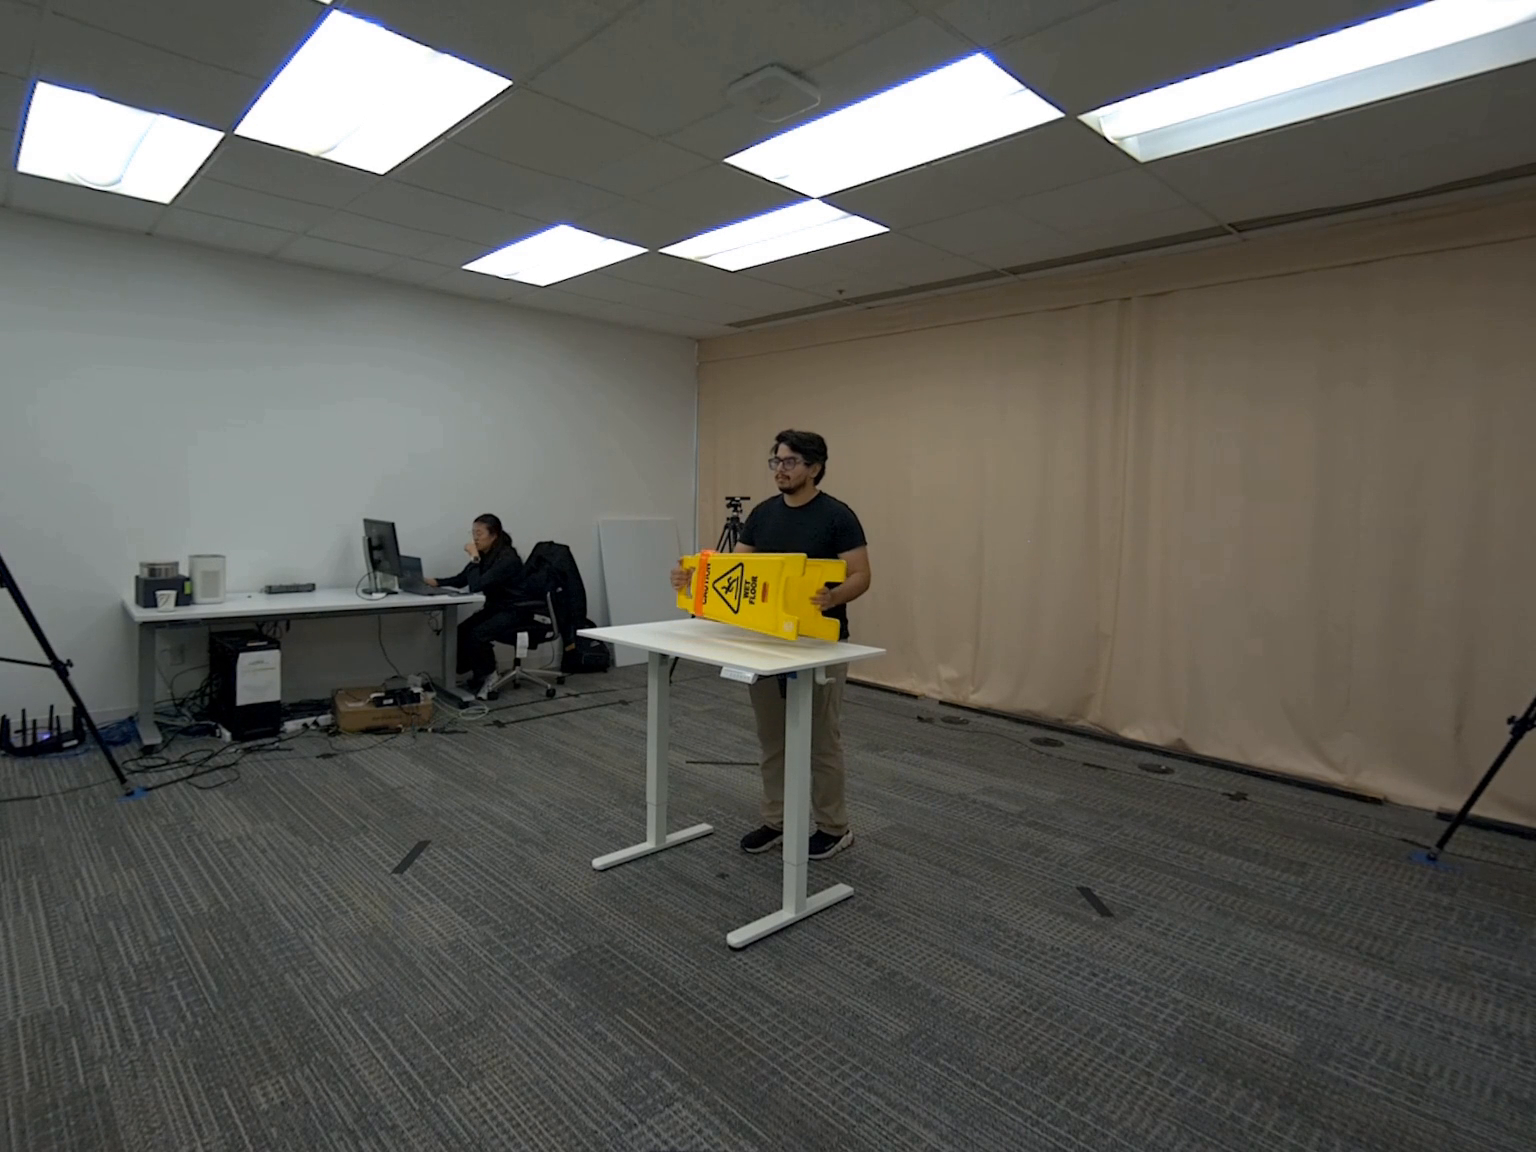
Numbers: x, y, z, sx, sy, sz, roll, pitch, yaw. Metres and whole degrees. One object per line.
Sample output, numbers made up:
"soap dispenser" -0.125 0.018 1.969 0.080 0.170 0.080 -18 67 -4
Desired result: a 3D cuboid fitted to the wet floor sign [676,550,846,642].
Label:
"wet floor sign" -0.081 0.051 2.976 0.662 0.282 0.282 6 -1 38
